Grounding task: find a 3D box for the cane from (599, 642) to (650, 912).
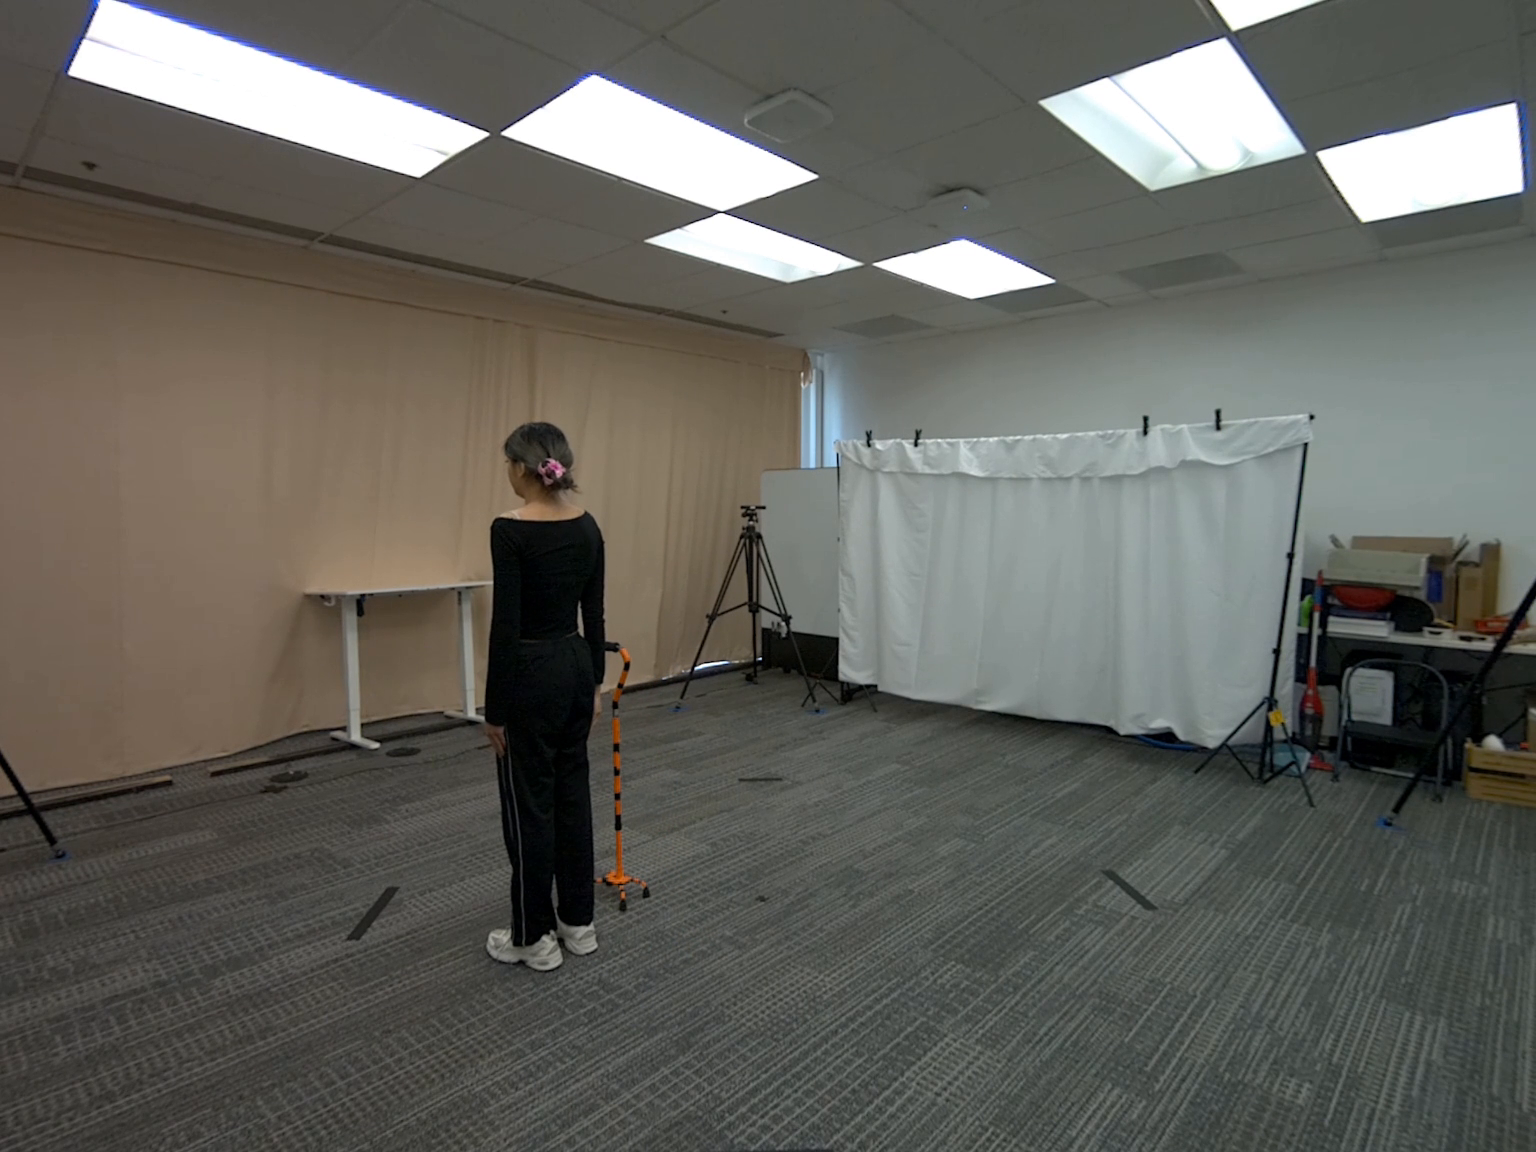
[{"bbox_3d":[-0.546,0.692,2.983,0.213,0.906,0.147,2,4,34],"label":"cane"}]
